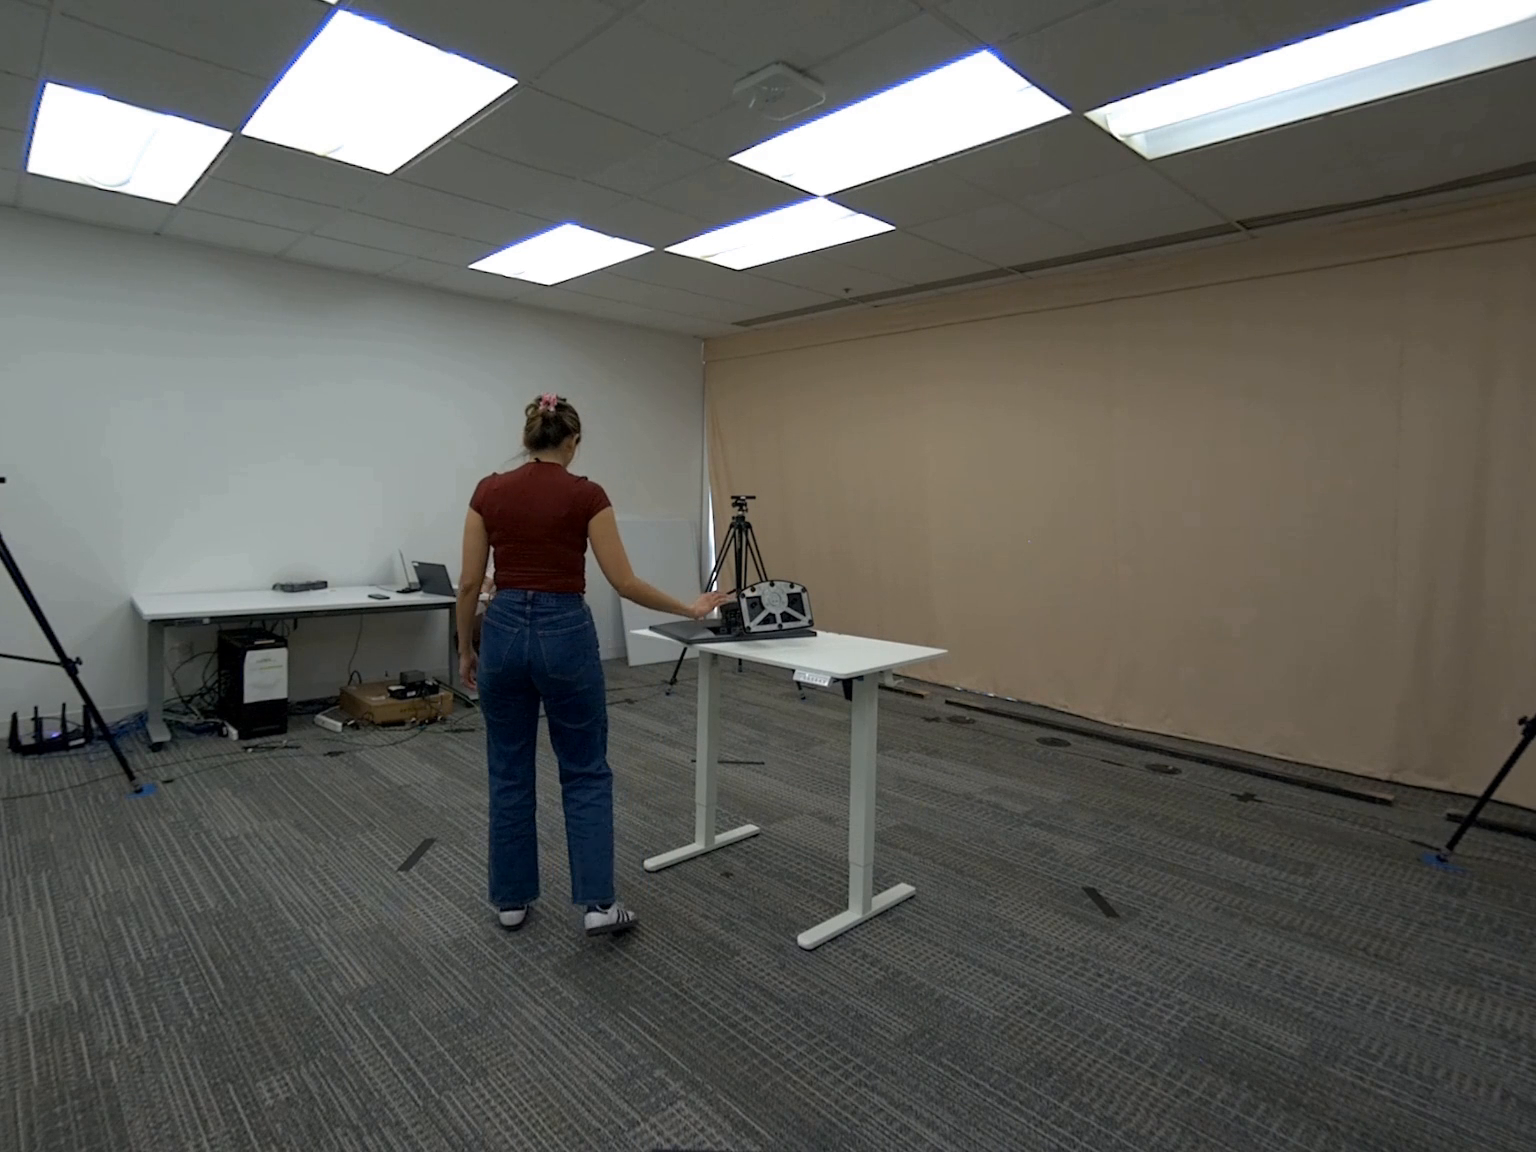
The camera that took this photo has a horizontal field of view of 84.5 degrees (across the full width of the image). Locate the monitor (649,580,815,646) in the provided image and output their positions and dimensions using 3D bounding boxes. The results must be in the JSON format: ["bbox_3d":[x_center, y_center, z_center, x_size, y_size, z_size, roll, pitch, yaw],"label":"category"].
[{"bbox_3d":[-0.102,0.157,3.096,0.529,0.189,0.527,-1,-12,-28],"label":"monitor"}]
